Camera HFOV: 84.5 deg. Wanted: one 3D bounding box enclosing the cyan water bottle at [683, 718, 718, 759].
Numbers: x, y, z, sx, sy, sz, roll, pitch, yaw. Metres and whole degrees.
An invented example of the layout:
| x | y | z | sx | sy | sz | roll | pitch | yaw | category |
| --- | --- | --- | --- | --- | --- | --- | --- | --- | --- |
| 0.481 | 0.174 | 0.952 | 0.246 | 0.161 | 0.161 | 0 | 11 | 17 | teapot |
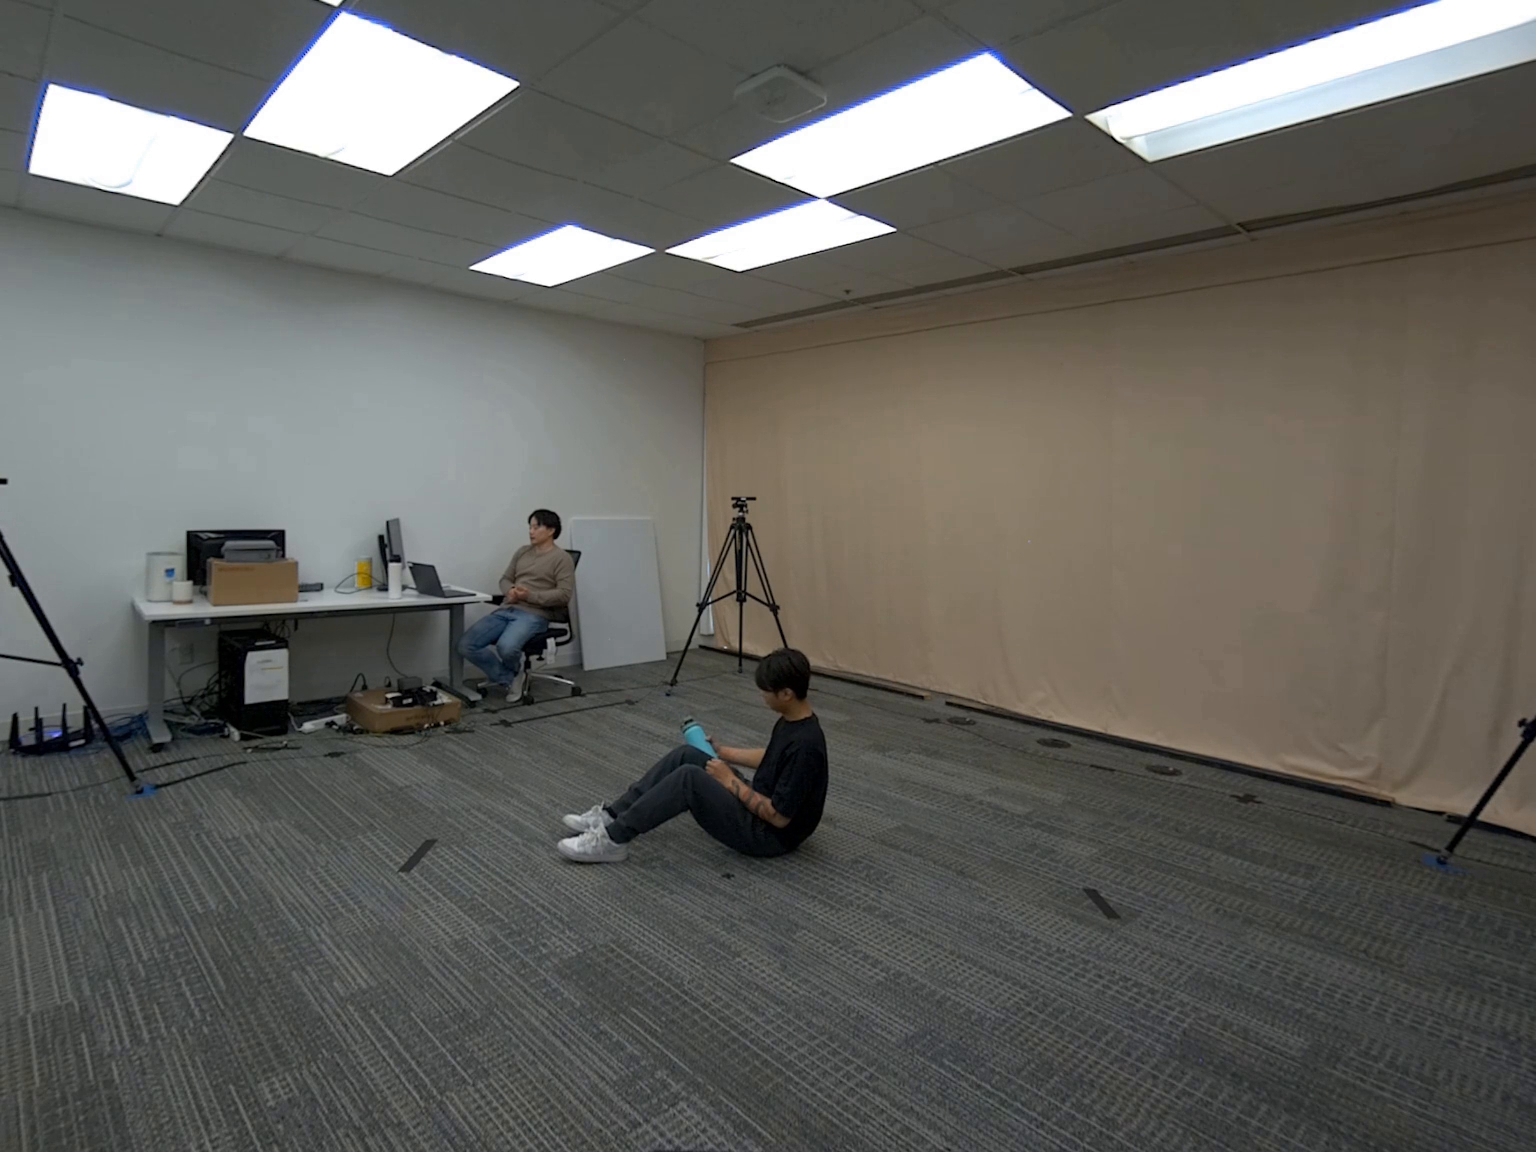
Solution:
| x | y | z | sx | sy | sz | roll | pitch | yaw | category |
| --- | --- | --- | --- | --- | --- | --- | --- | --- | --- |
| -0.312 | 0.753 | 3.723 | 0.092 | 0.290 | 0.090 | -23 | -27 | -14 | cyan water bottle |
